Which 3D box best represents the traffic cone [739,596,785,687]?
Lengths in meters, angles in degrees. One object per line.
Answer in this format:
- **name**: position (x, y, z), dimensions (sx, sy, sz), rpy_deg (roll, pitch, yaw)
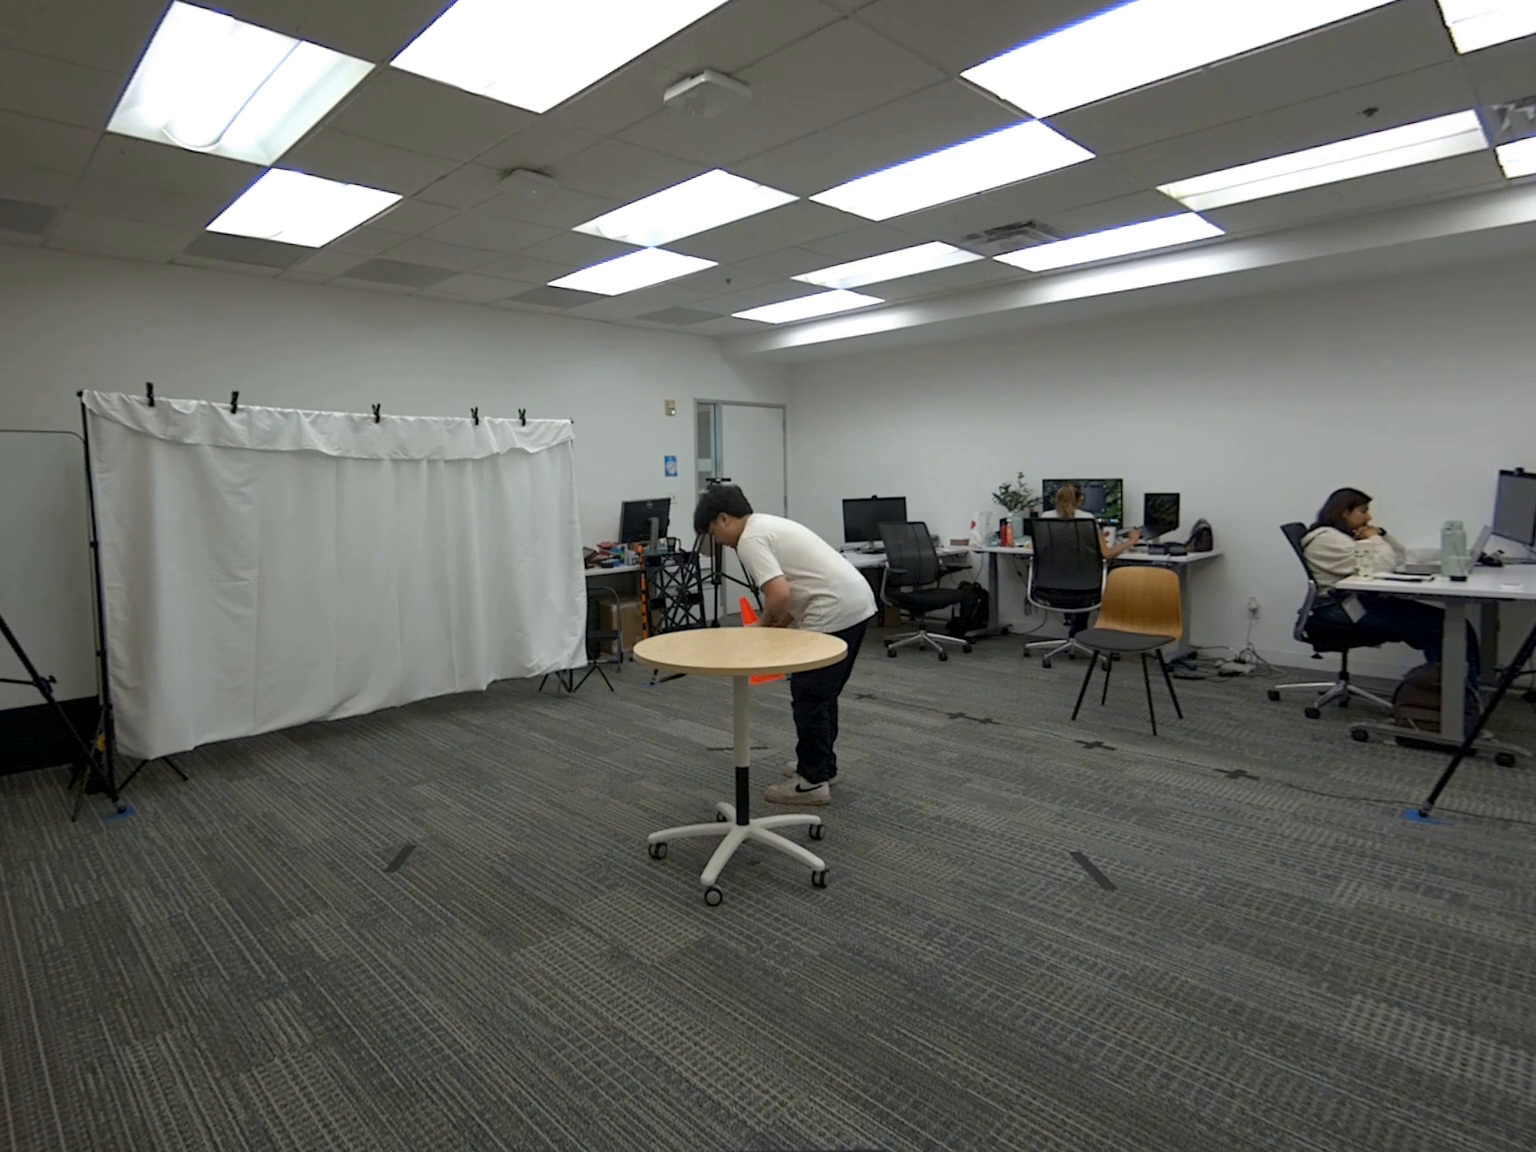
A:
- **traffic cone**: position (-0.050, 0.286, 3.901), dimensions (0.207, 0.385, 0.200), rpy_deg (-18, -2, 20)
